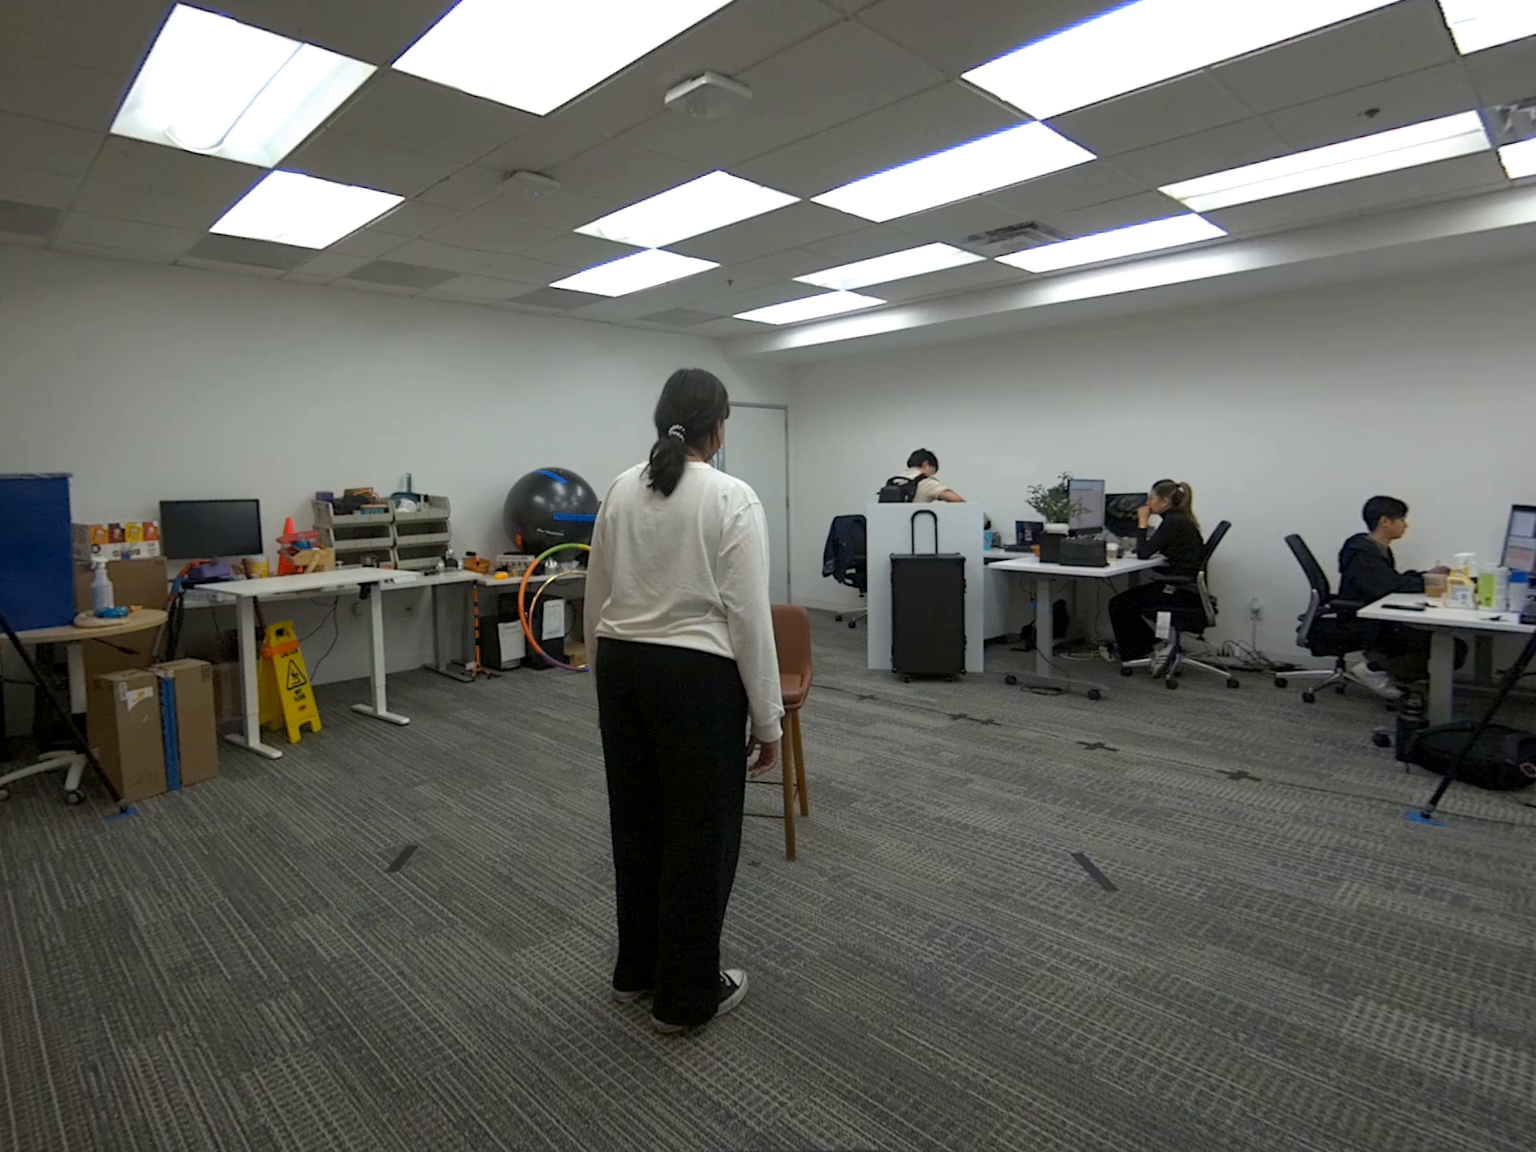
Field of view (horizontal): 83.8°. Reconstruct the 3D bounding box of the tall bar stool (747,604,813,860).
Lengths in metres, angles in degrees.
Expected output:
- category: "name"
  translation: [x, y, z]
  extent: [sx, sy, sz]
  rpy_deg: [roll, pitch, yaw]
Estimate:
- category: "tall bar stool"
  translation: [-0.058, 0.580, 3.367]
  extent: [0.463, 0.888, 0.462]
  rpy_deg: [0, 2, 14]
